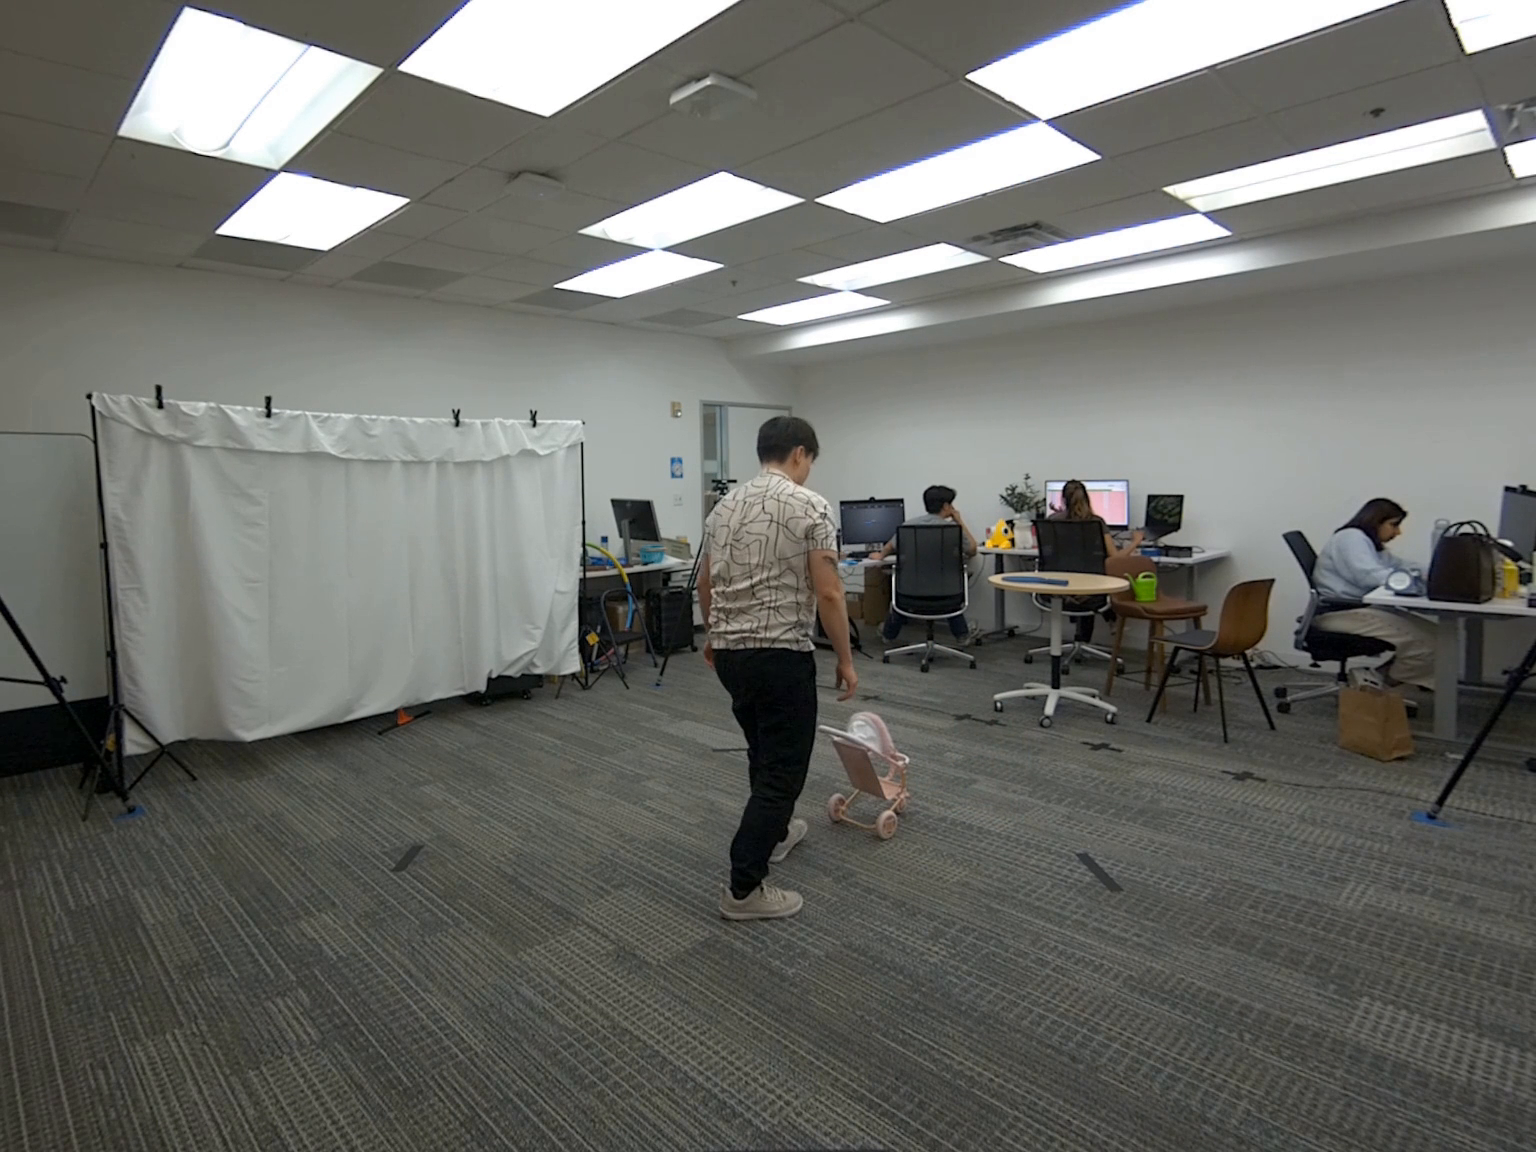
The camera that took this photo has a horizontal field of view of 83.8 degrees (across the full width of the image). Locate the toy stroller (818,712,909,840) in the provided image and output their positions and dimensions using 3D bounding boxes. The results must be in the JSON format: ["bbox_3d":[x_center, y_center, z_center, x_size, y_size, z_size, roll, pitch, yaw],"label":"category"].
[{"bbox_3d":[0.414,0.778,3.426,0.336,0.527,0.290,-24,18,-36],"label":"toy stroller"}]
